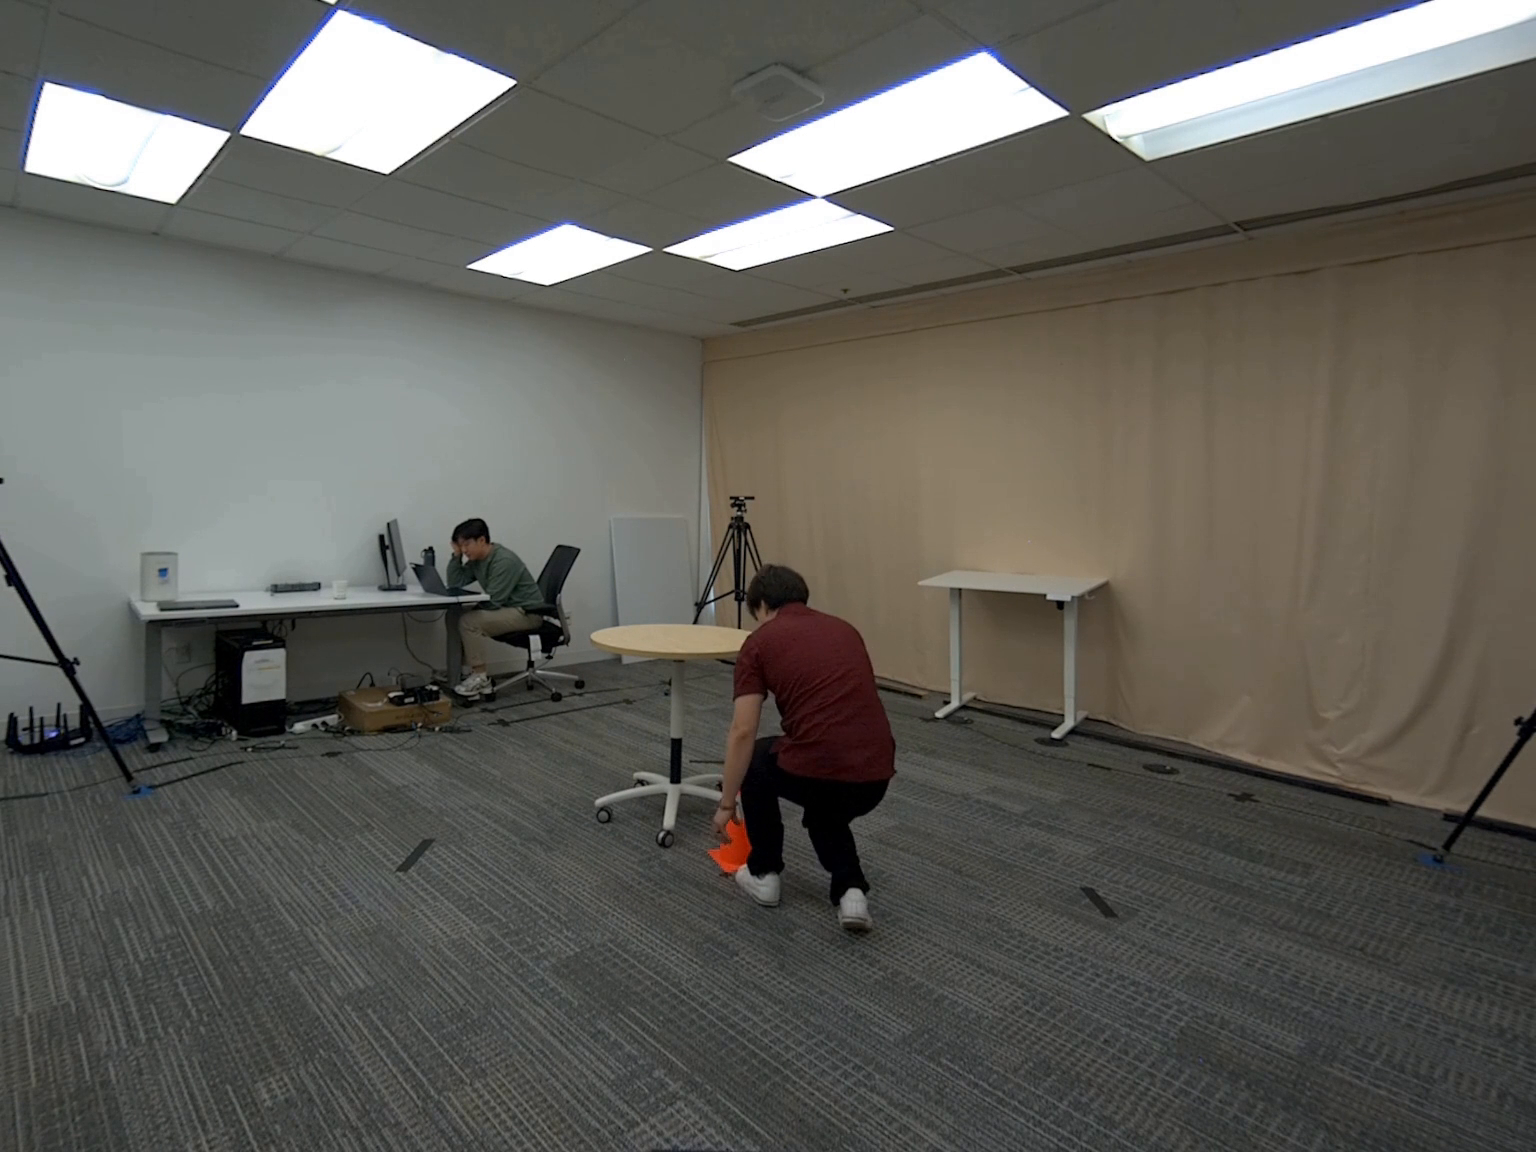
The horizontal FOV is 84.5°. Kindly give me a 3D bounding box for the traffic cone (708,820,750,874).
[{"bbox_3d":[-0.101,0.911,3.246,0.201,0.383,0.207,3,3,-23],"label":"traffic cone"}]
